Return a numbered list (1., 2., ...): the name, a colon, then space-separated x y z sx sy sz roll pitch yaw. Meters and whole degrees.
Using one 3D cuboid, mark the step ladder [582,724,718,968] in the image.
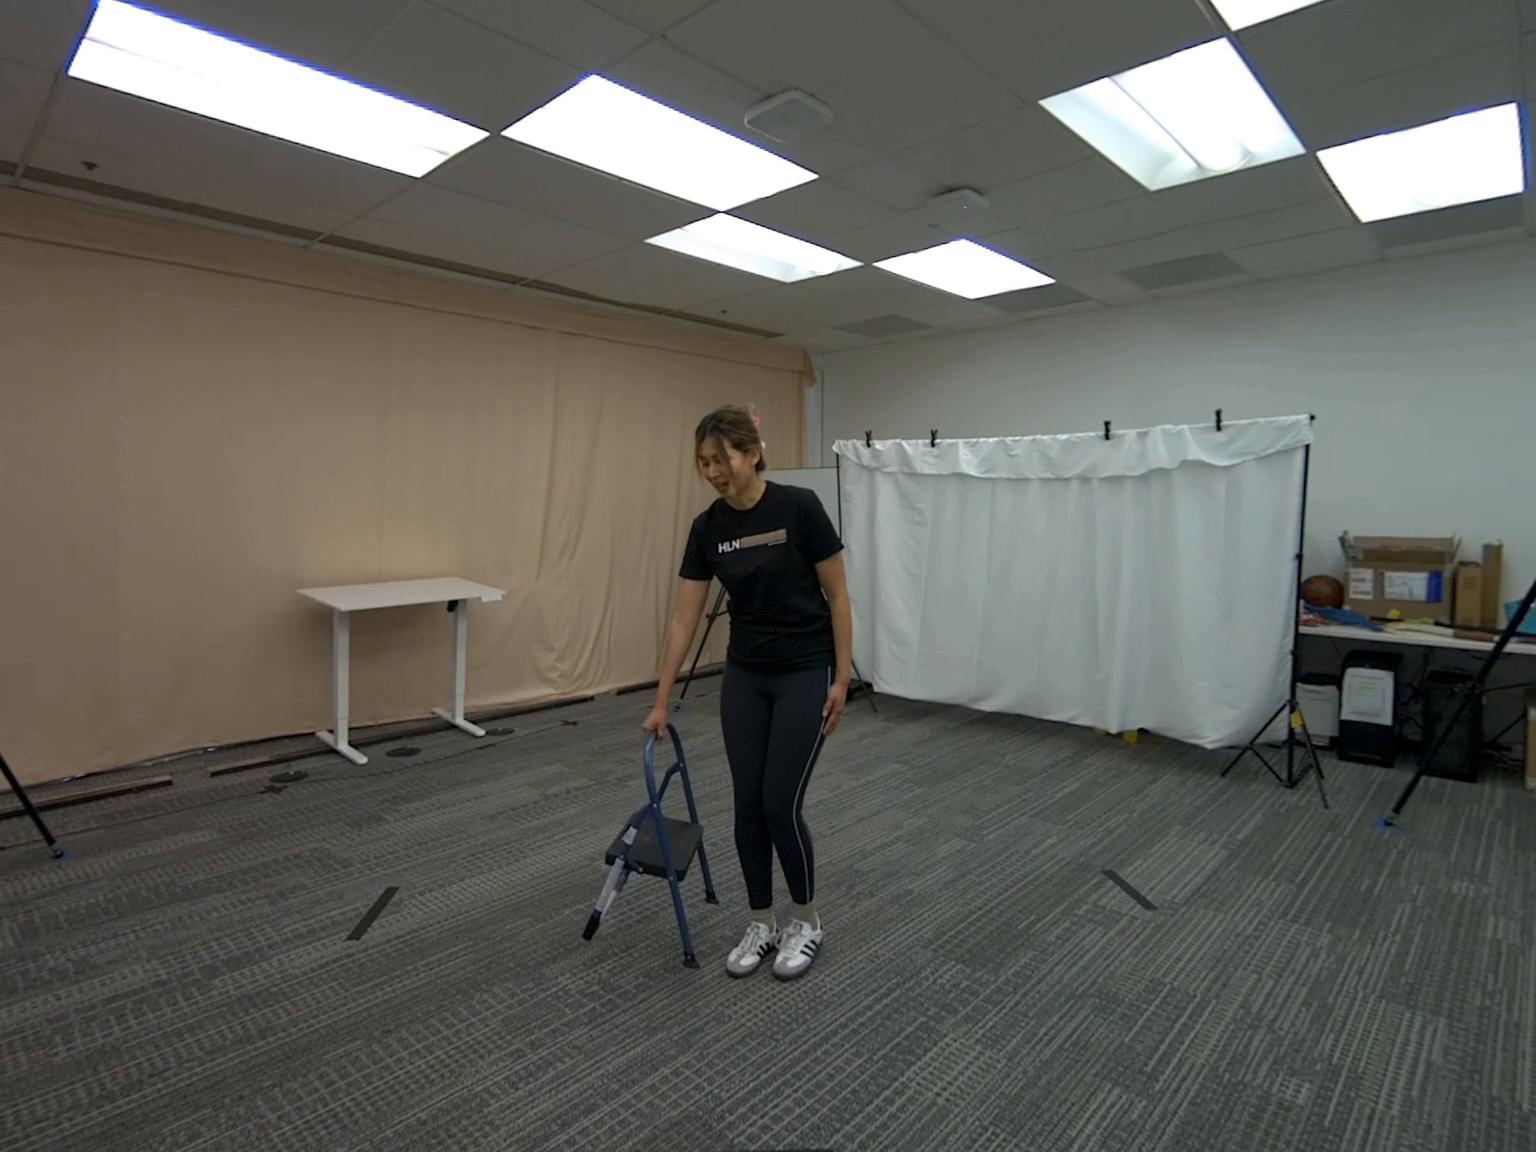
1. step ladder: -0.308 0.786 2.610 0.352 0.605 0.428 10 4 6
